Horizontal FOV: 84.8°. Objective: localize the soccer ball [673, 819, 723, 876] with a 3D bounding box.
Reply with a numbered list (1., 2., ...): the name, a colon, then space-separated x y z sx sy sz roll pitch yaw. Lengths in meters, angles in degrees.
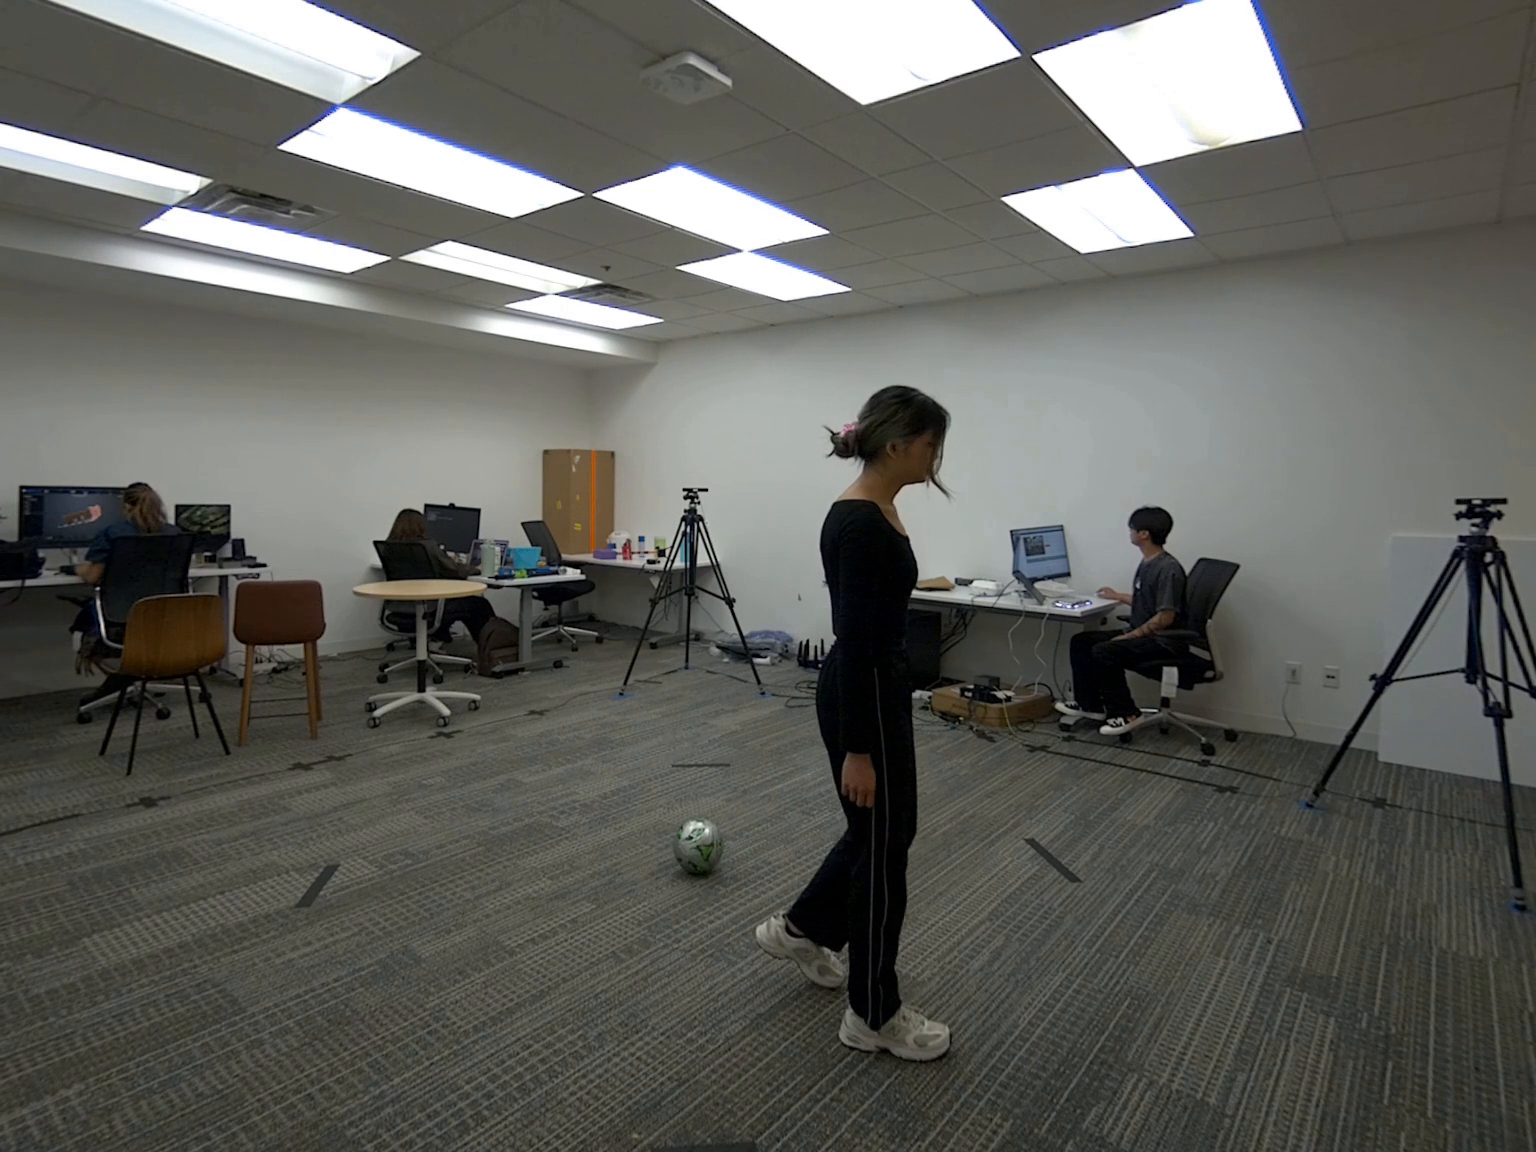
1. soccer ball: -0.263 0.975 3.093 0.187 0.187 0.188 1 4 -2
